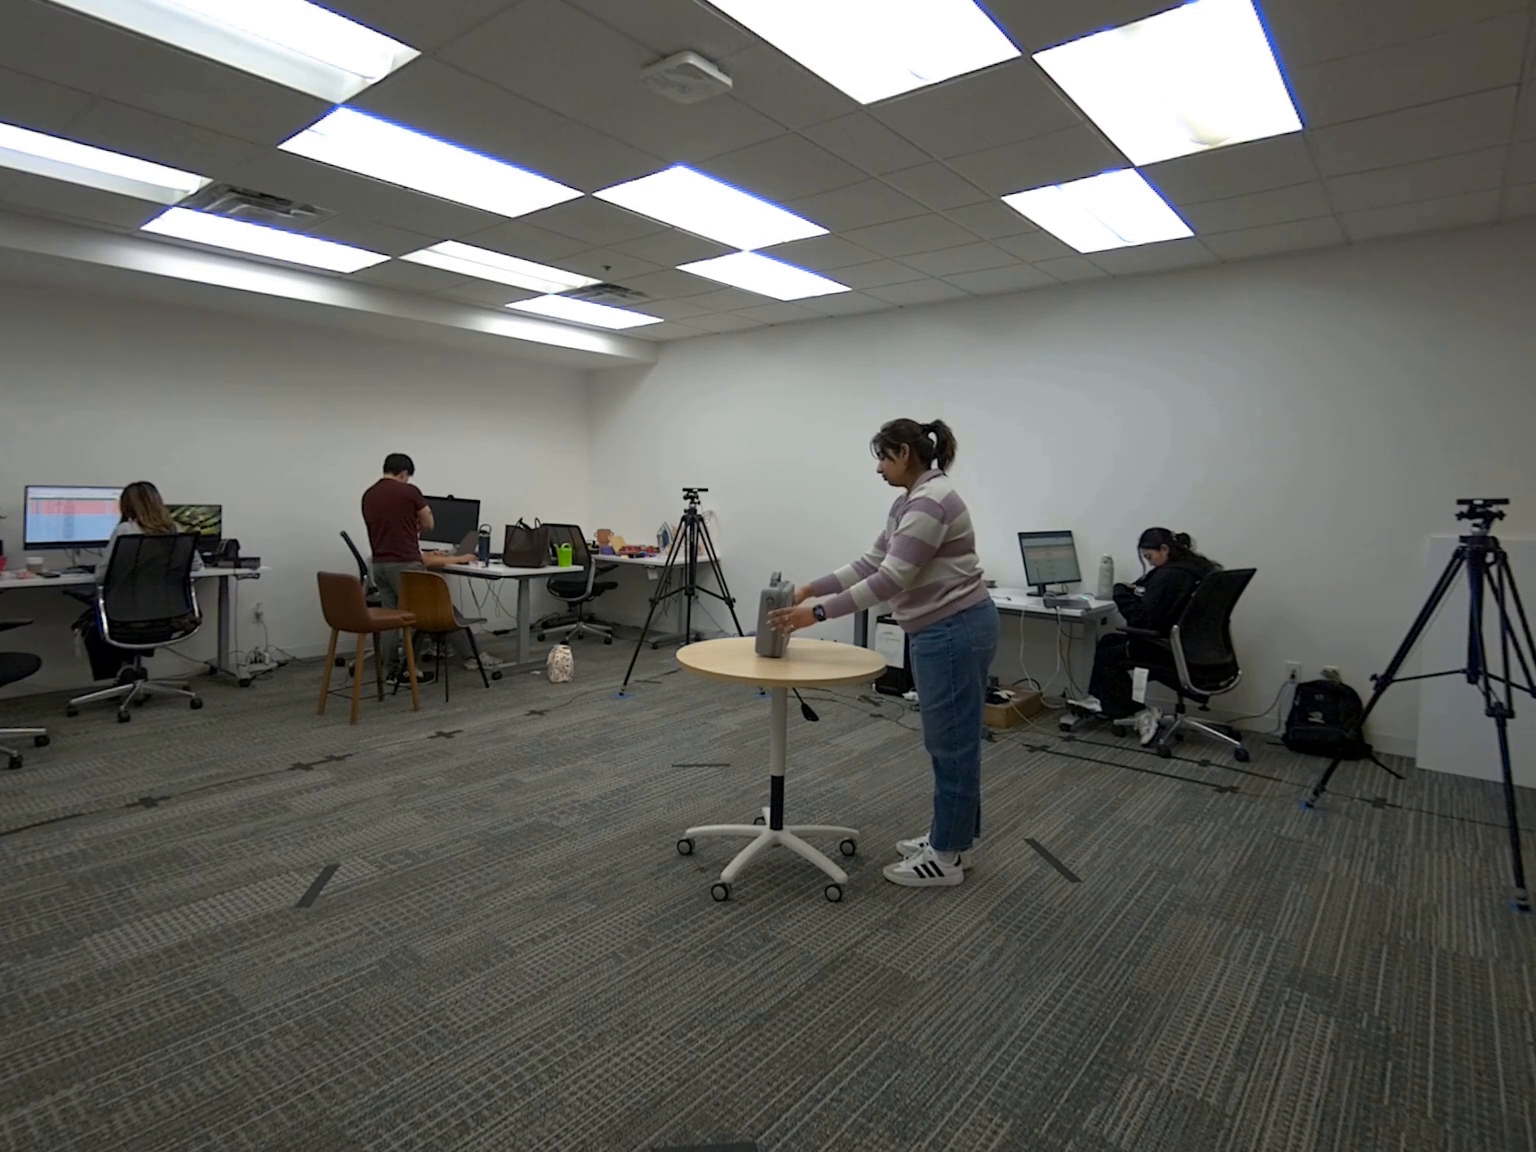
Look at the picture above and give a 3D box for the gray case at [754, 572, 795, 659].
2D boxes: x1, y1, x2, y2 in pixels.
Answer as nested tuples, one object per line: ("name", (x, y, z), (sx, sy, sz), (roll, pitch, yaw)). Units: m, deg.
("gray case", (0.019, 0.150, 3.168), (0.105, 0.259, 0.255), (2, 7, 9))
